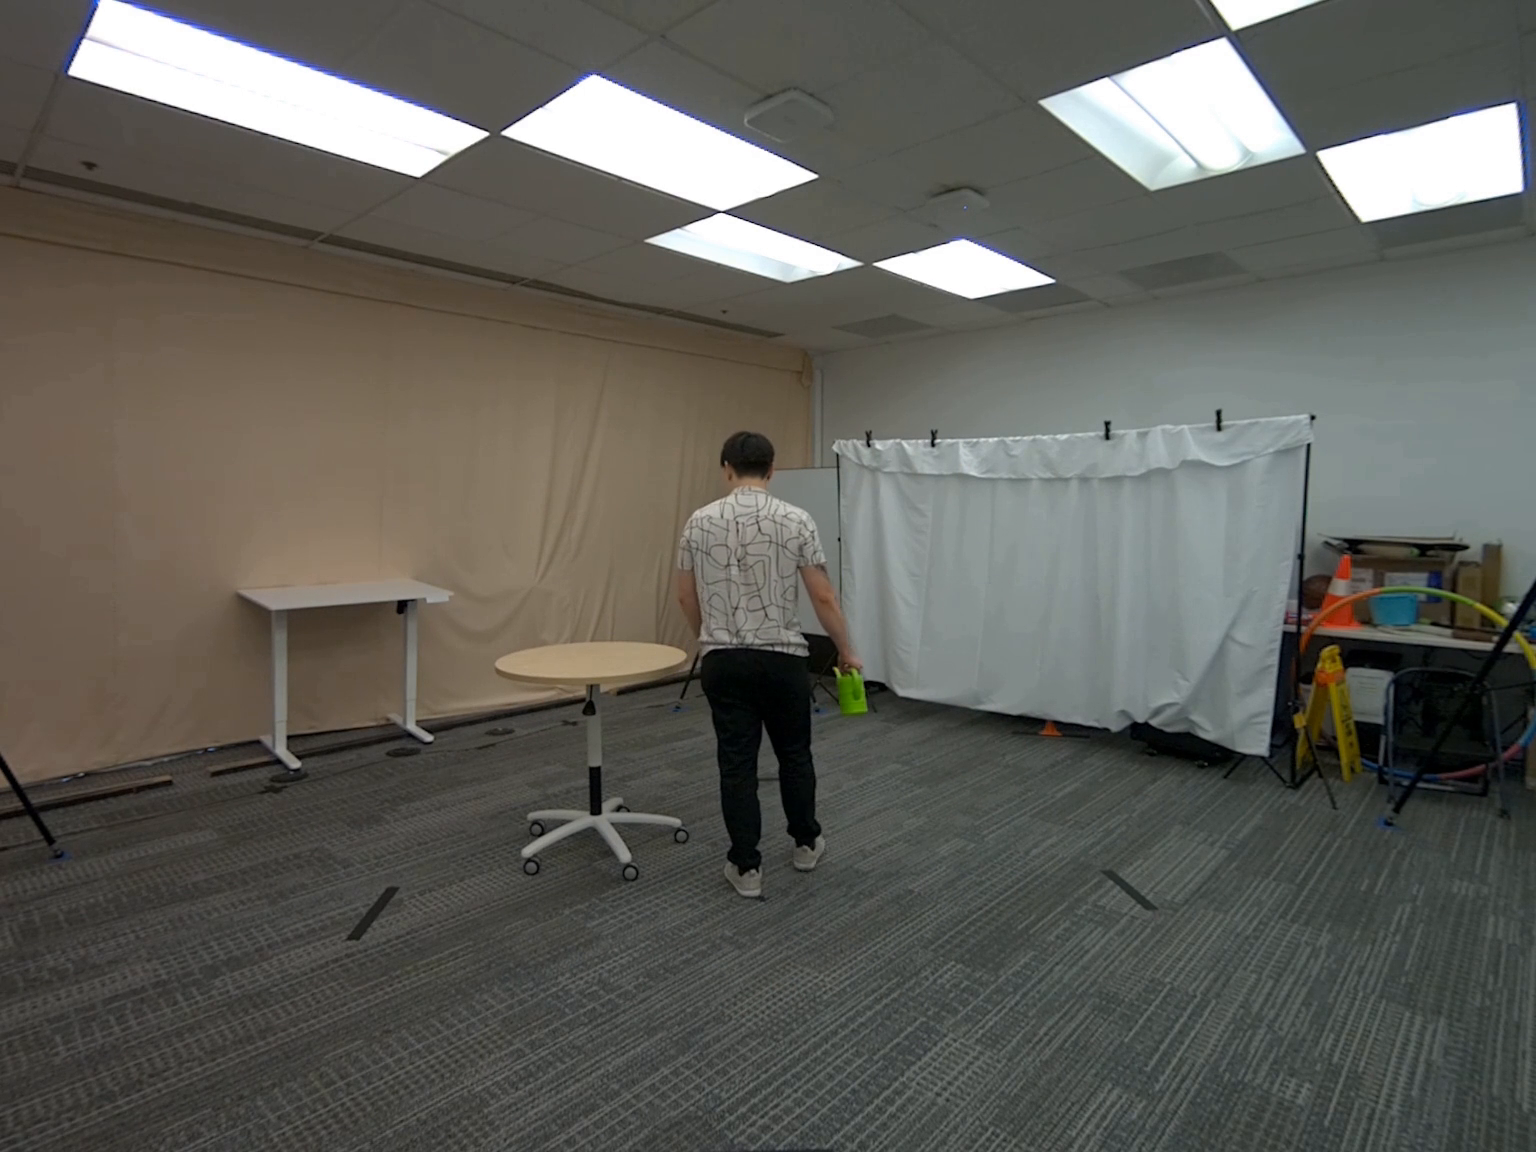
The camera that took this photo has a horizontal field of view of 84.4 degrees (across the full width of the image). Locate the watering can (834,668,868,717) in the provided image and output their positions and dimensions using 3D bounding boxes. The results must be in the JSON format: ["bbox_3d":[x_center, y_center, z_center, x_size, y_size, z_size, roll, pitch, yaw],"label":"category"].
[{"bbox_3d":[0.307,0.423,3.124,0.098,0.178,0.275,-6,-8,5],"label":"watering can"}]
